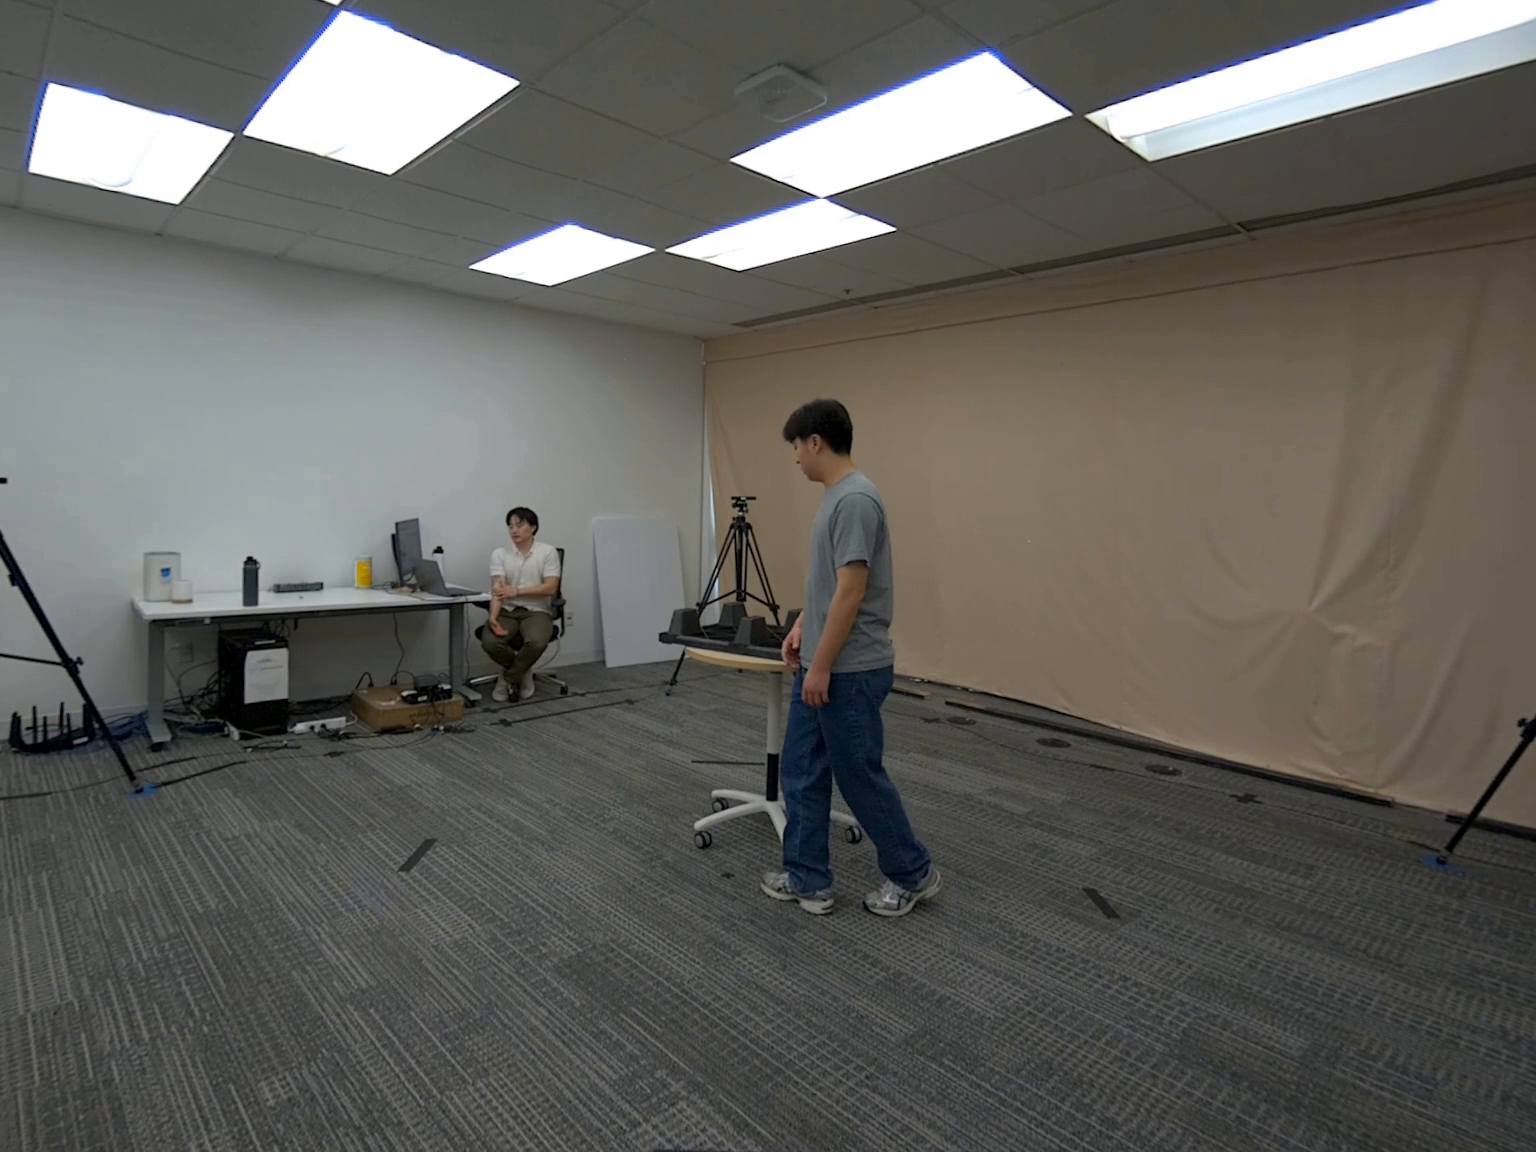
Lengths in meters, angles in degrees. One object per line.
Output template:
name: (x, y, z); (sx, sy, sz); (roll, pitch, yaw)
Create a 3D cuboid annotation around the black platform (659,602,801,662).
black platform: (0.022, 0.226, 3.522); (0.824, 0.143, 0.593); (5, 6, 32)
